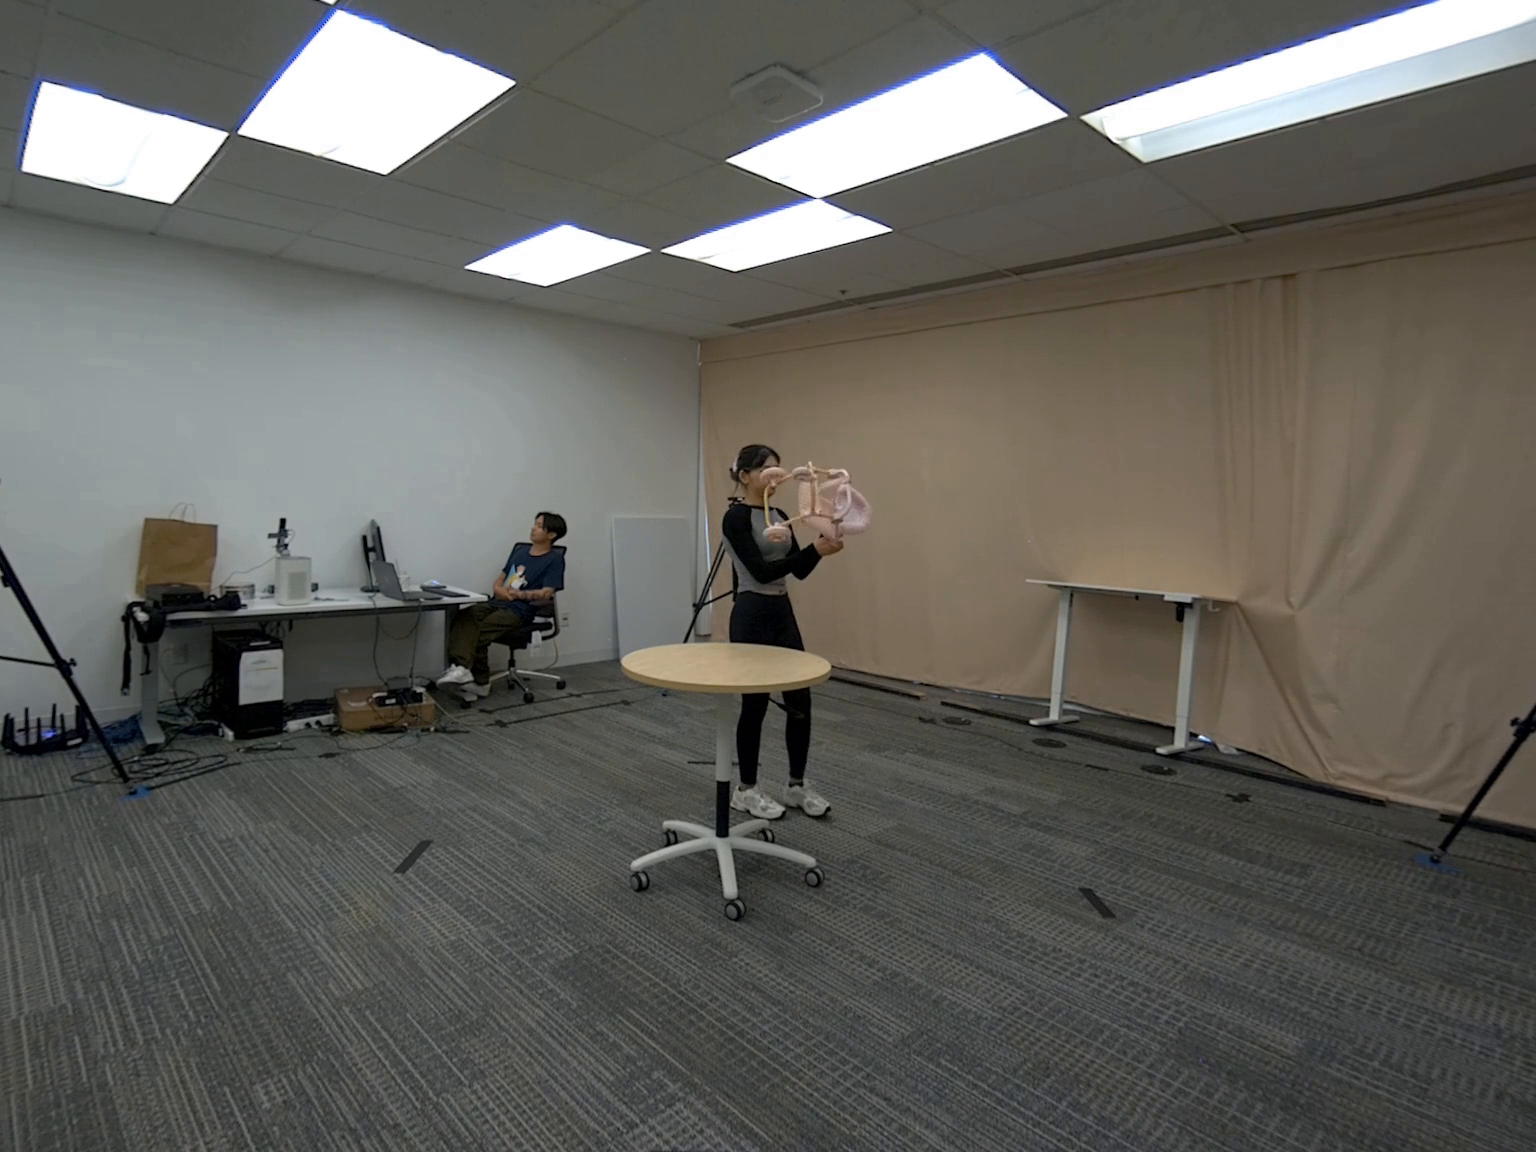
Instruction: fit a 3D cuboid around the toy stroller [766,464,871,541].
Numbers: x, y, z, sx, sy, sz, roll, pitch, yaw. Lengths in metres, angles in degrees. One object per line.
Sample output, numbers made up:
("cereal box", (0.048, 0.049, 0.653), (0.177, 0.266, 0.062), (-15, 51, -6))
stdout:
("toy stroller", (0.208, -0.278, 3.286), (0.520, 0.287, 0.344), (17, -33, -37))
